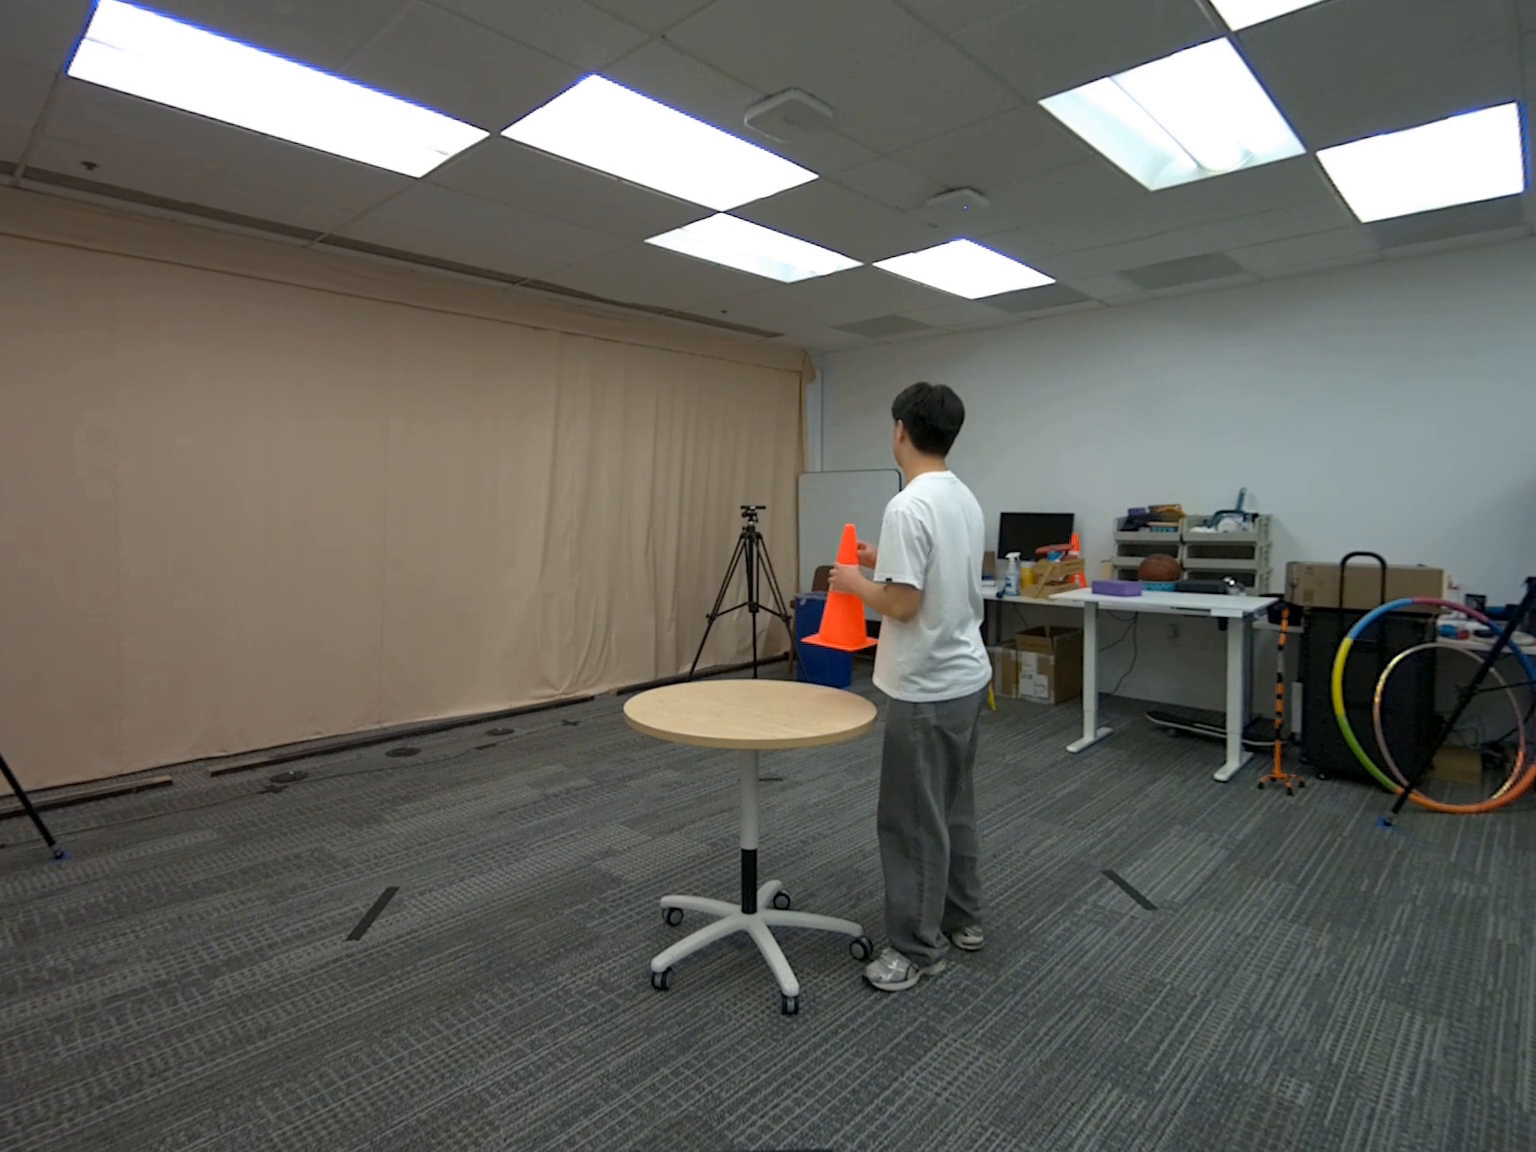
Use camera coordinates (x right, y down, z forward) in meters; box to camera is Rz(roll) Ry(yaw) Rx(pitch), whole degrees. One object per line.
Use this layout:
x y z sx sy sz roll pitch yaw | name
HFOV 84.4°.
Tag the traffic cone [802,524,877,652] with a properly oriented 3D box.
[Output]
0.258 0.025 2.722 0.212 0.382 0.197 8 6 36 | traffic cone
